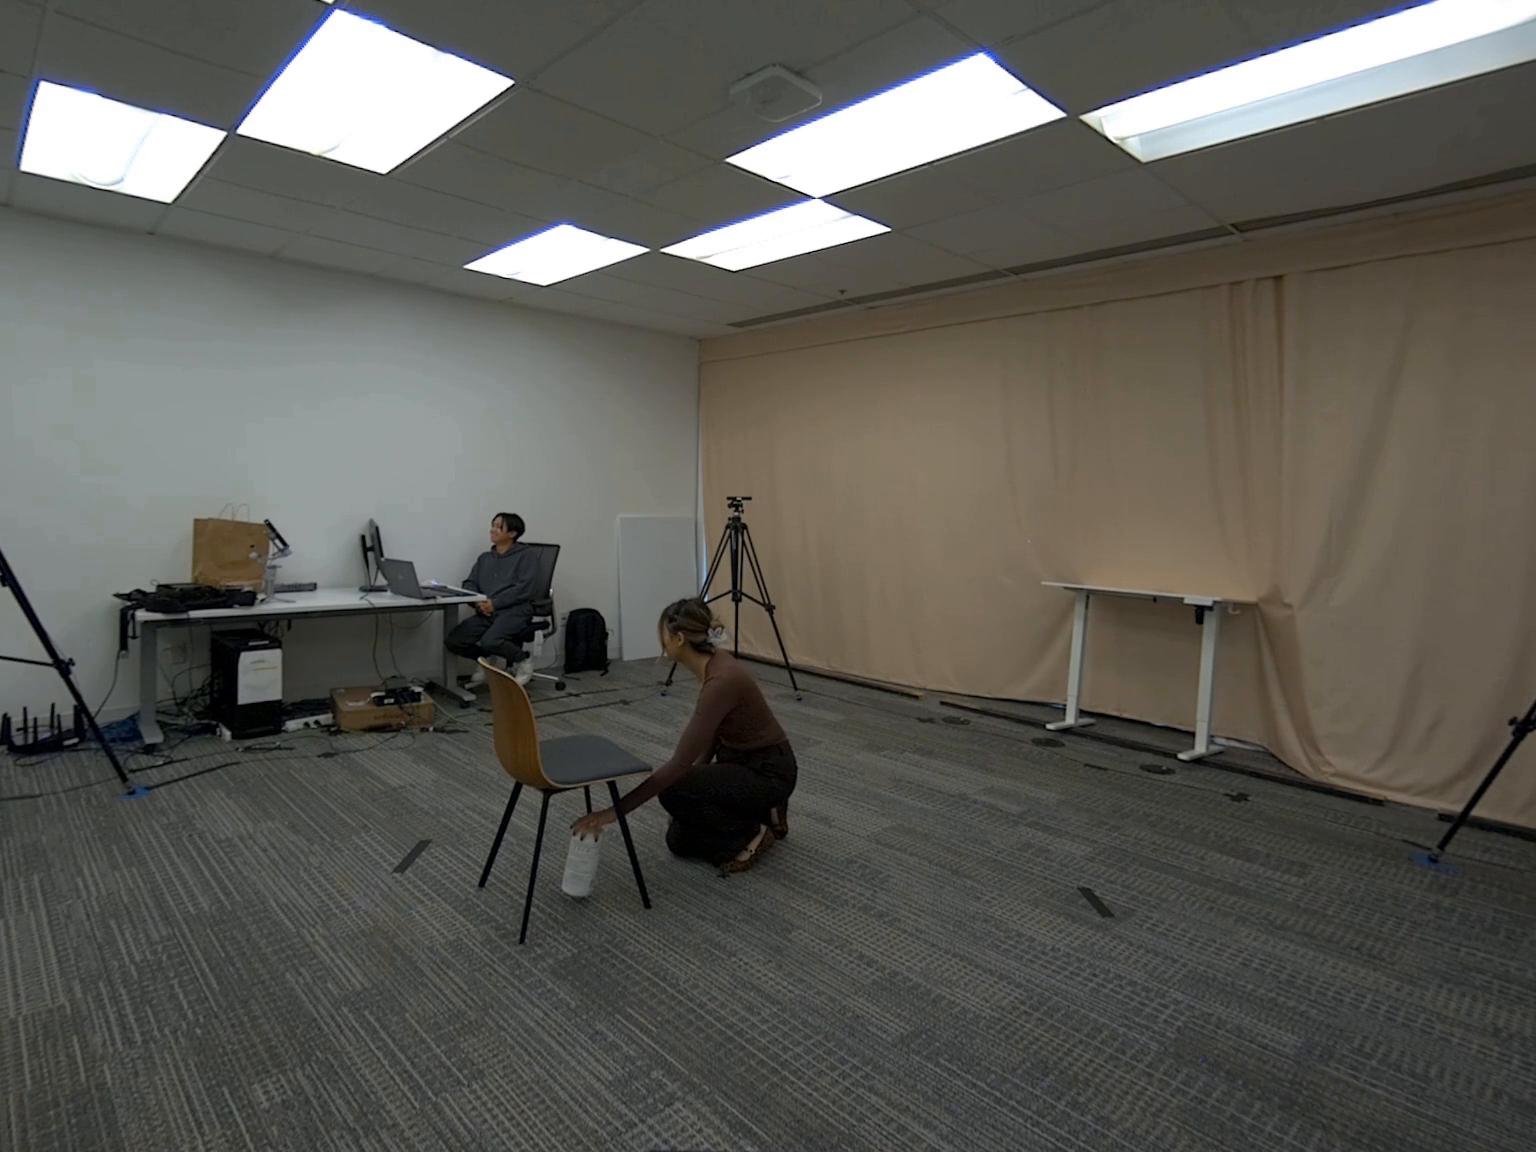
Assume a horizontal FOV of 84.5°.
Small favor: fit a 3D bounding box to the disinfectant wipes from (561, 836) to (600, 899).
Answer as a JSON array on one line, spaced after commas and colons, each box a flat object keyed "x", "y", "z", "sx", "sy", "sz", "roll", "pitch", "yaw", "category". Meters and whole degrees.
[{"x": -0.638, "y": 0.981, "z": 2.878, "sx": 0.118, "sy": 0.217, "sz": 0.118, "roll": 12, "pitch": 0, "yaw": -1, "category": "disinfectant wipes"}]
